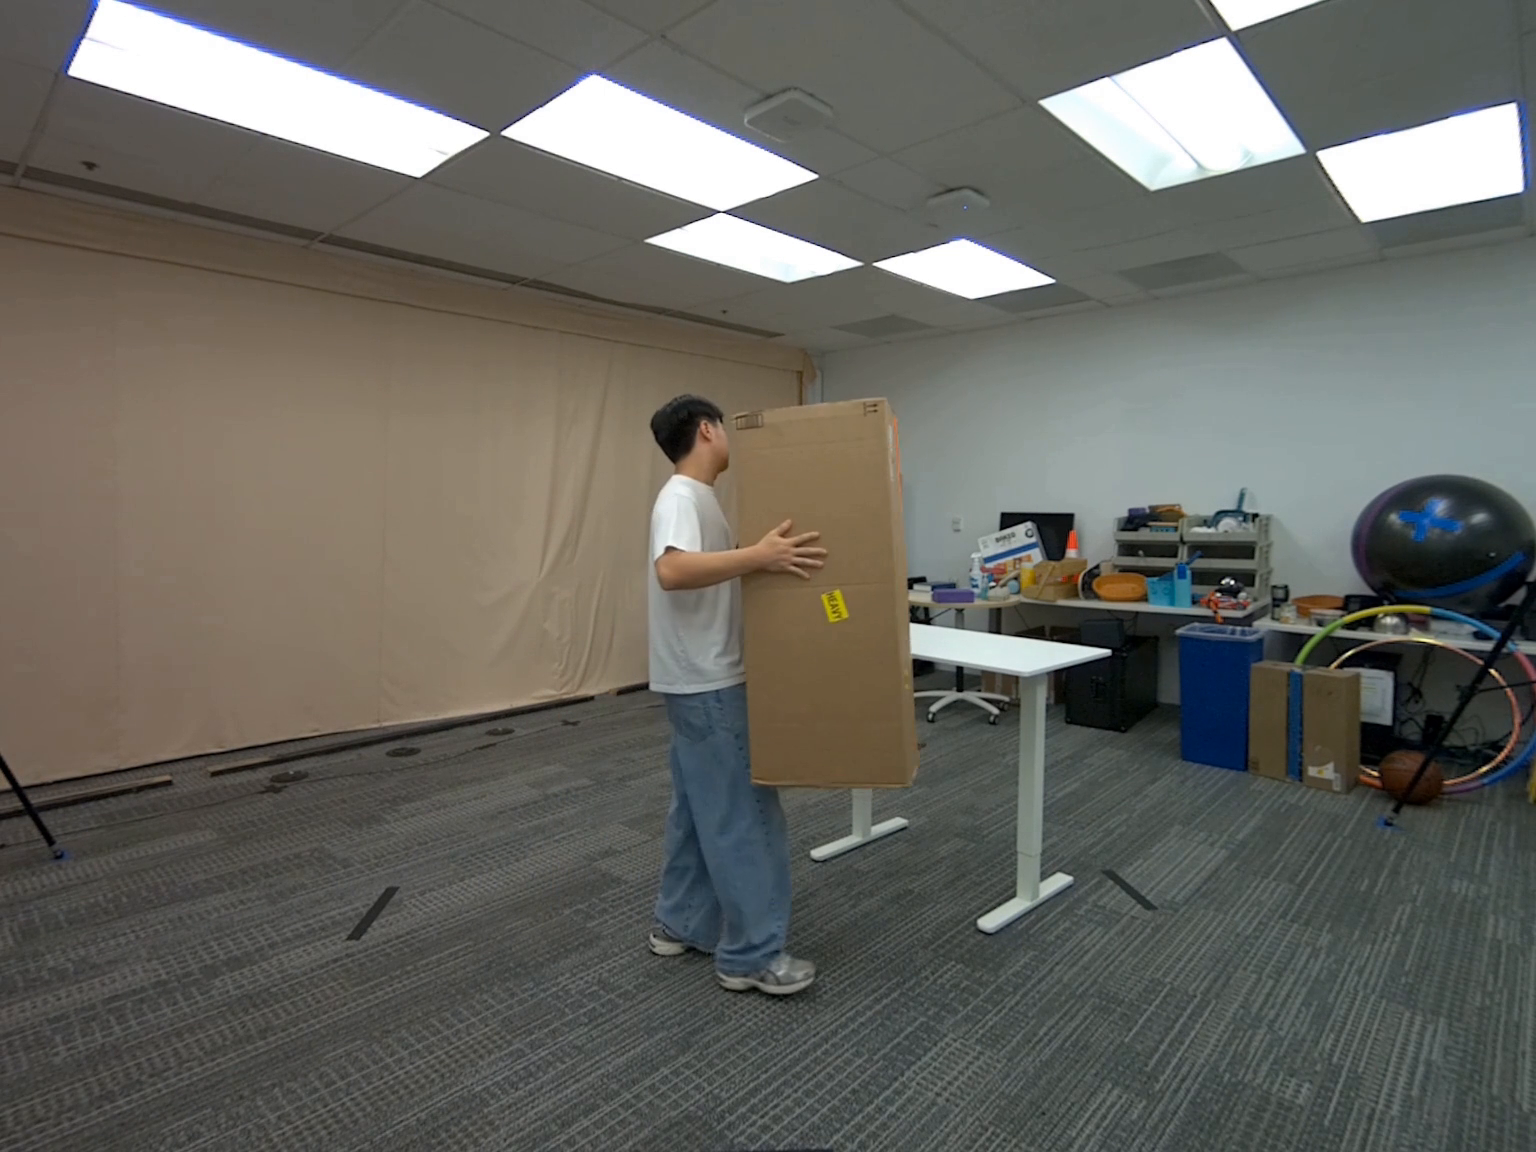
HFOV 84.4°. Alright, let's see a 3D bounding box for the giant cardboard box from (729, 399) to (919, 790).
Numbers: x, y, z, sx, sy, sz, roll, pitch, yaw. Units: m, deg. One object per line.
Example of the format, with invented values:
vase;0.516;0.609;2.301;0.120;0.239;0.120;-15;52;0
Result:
giant cardboard box;0.194;0.049;2.521;0.433;1.027;0.568;-4;-2;14
